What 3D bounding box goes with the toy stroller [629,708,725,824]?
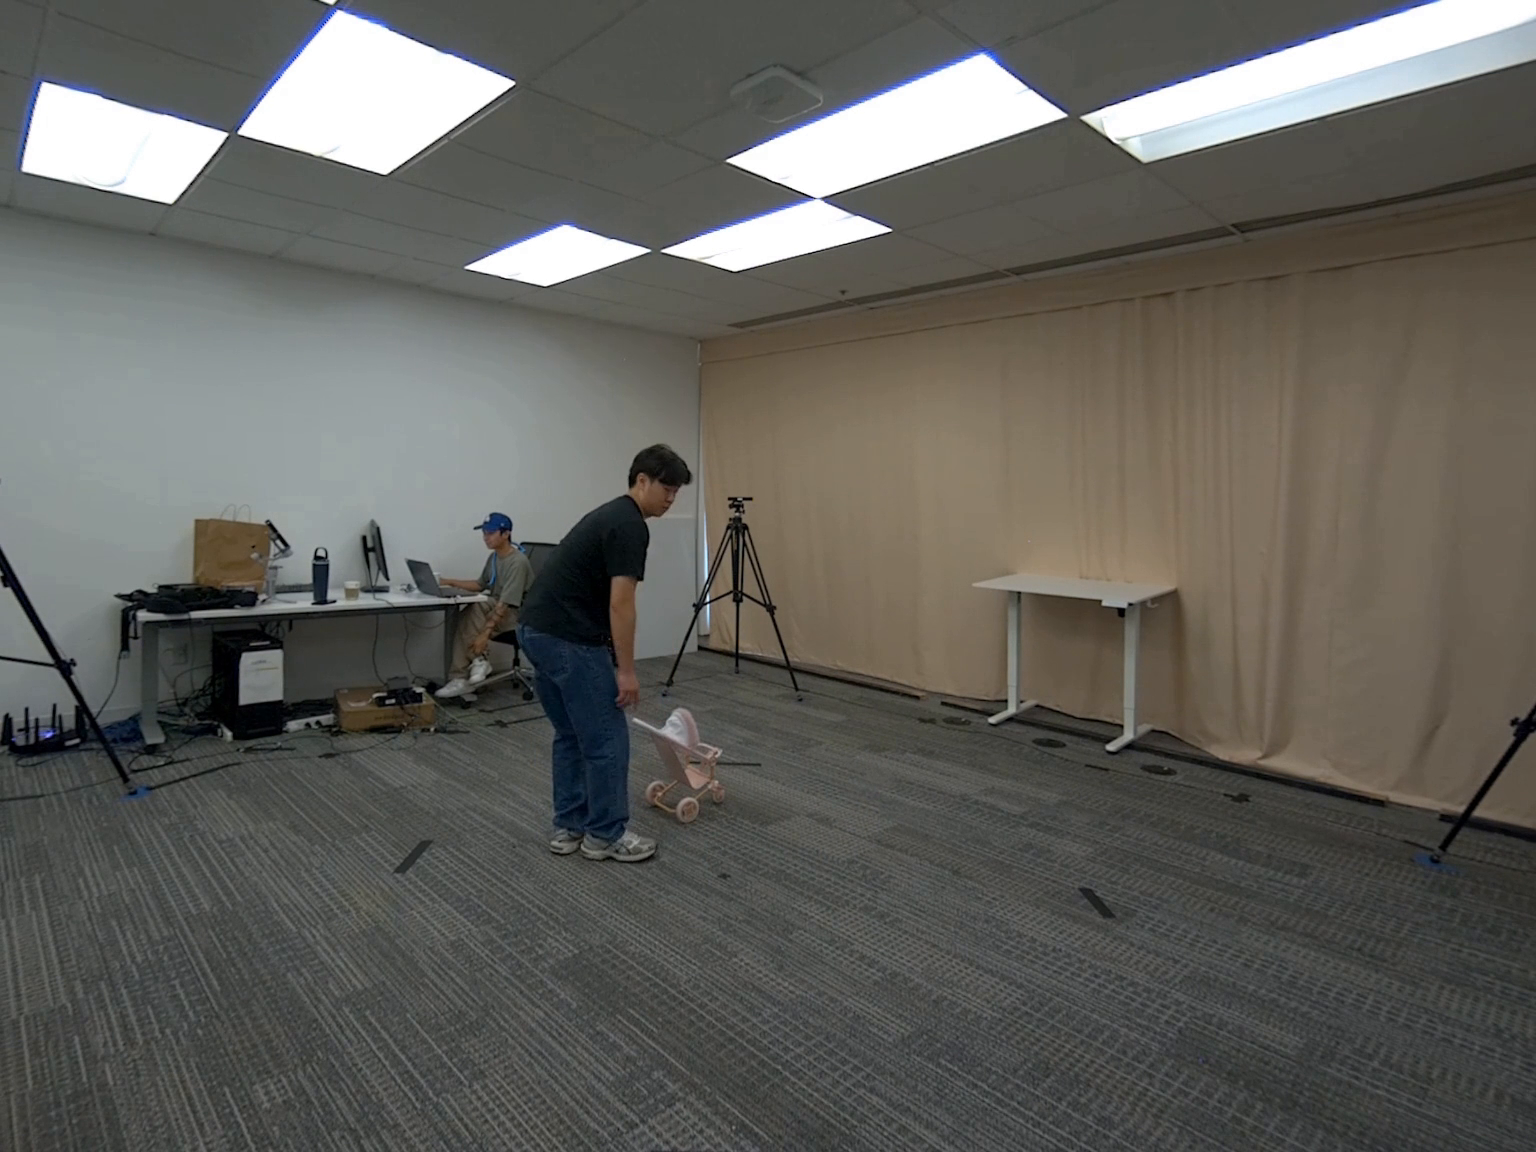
[{"bbox_3d":[-0.378,0.824,3.736,0.337,0.529,0.288,-20,15,-31],"label":"toy stroller"}]
